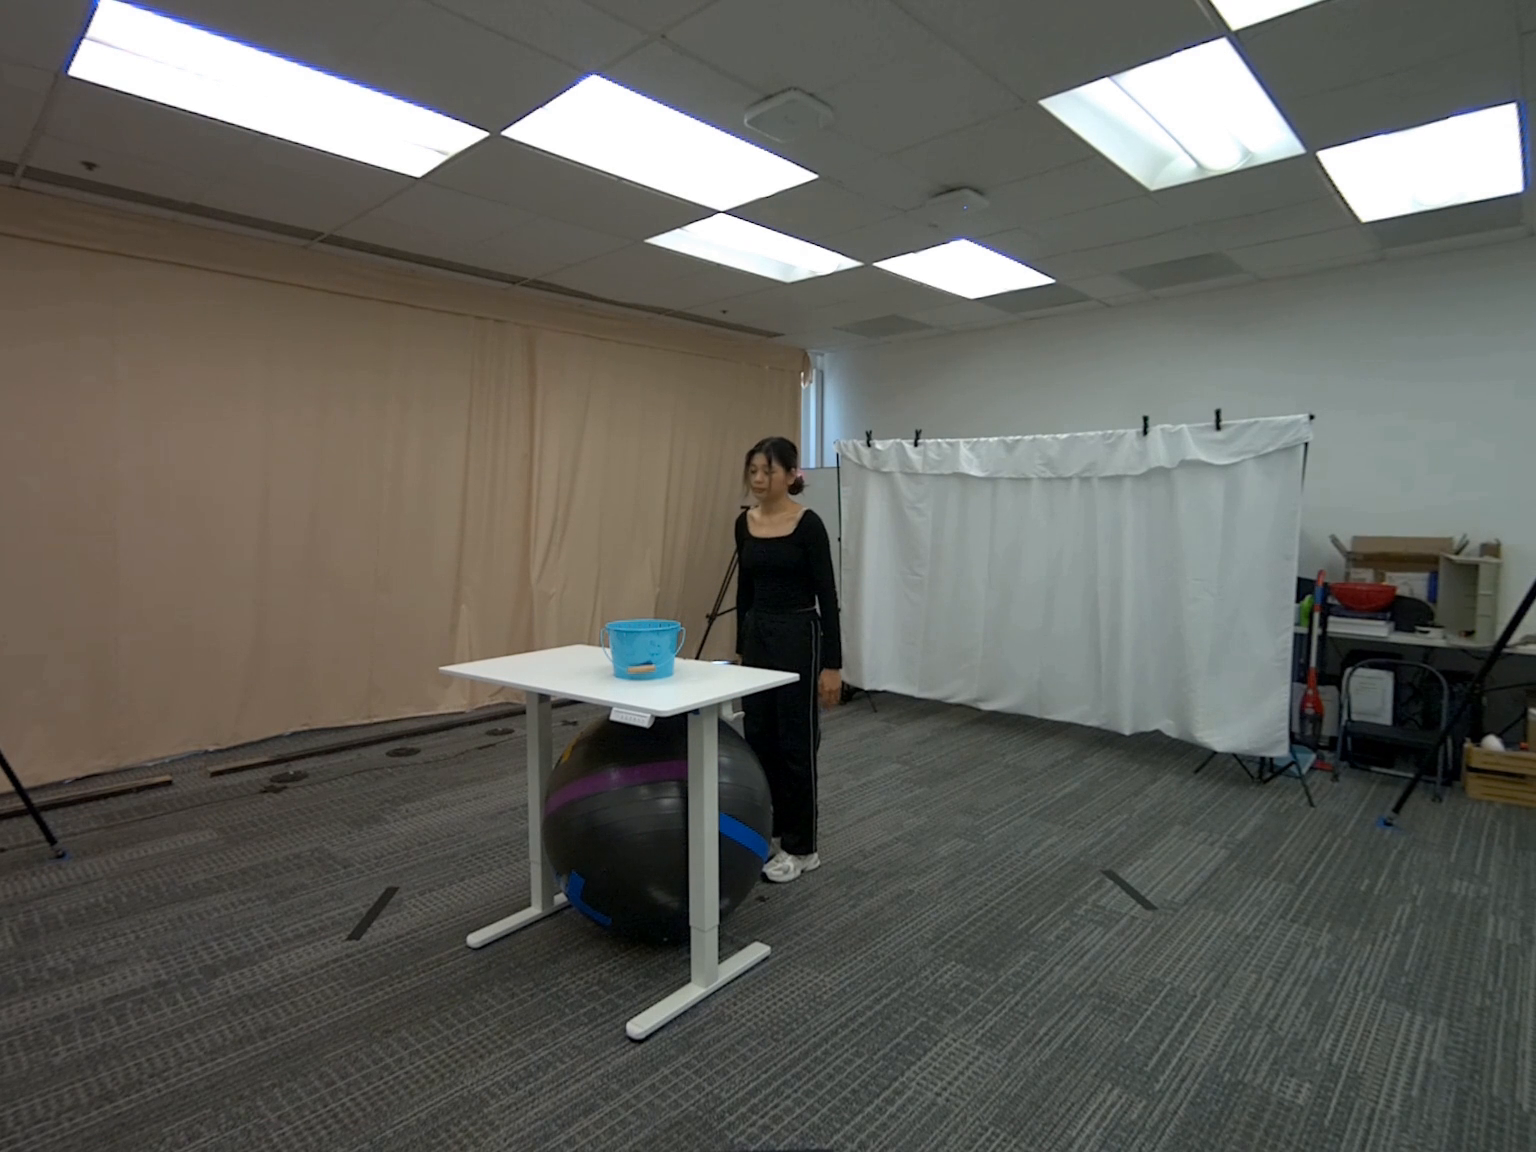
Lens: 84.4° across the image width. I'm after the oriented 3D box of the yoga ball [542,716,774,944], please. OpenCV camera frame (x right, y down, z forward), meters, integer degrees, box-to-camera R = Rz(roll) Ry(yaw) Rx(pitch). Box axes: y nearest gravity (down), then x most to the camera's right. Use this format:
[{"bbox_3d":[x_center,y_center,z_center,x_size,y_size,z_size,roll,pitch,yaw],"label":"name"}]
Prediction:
[{"bbox_3d":[-0.373,0.798,2.780,0.757,0.756,0.761,0,4,-2],"label":"yoga ball"}]
